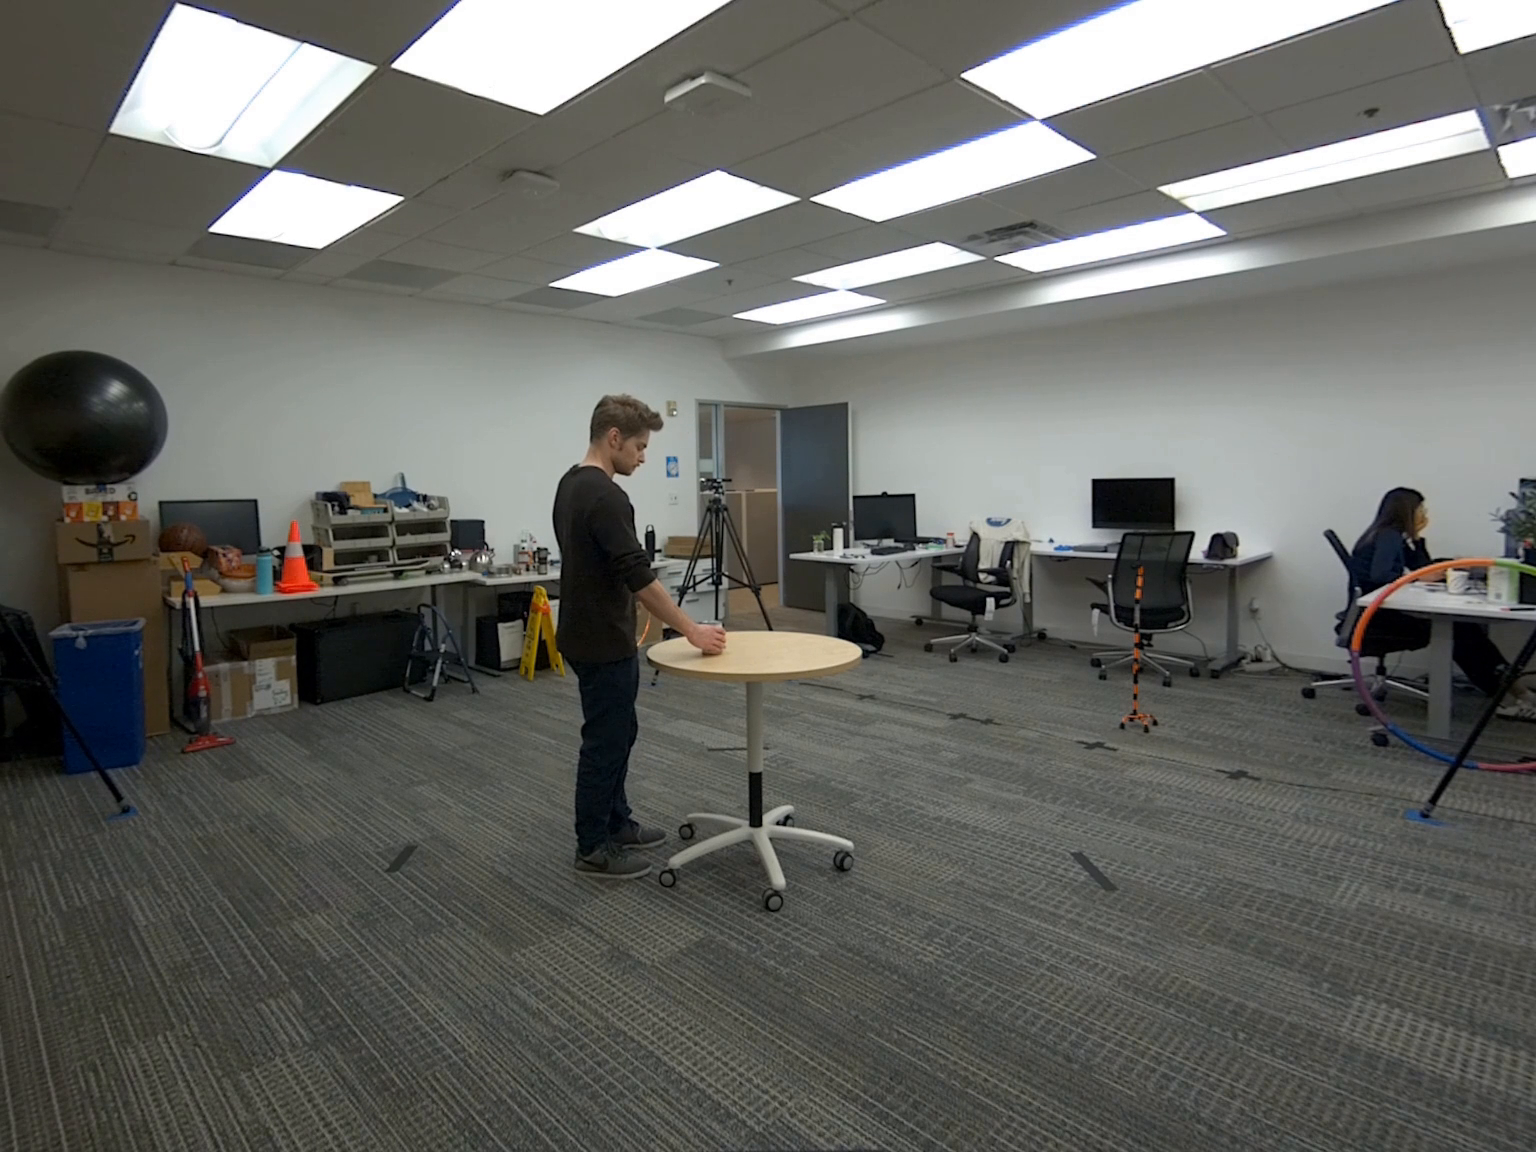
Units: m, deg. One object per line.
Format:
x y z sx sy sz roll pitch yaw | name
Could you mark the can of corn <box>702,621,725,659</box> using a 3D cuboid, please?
-0.191 0.221 2.992 0.074 0.110 0.075 0 12 -2 | can of corn
